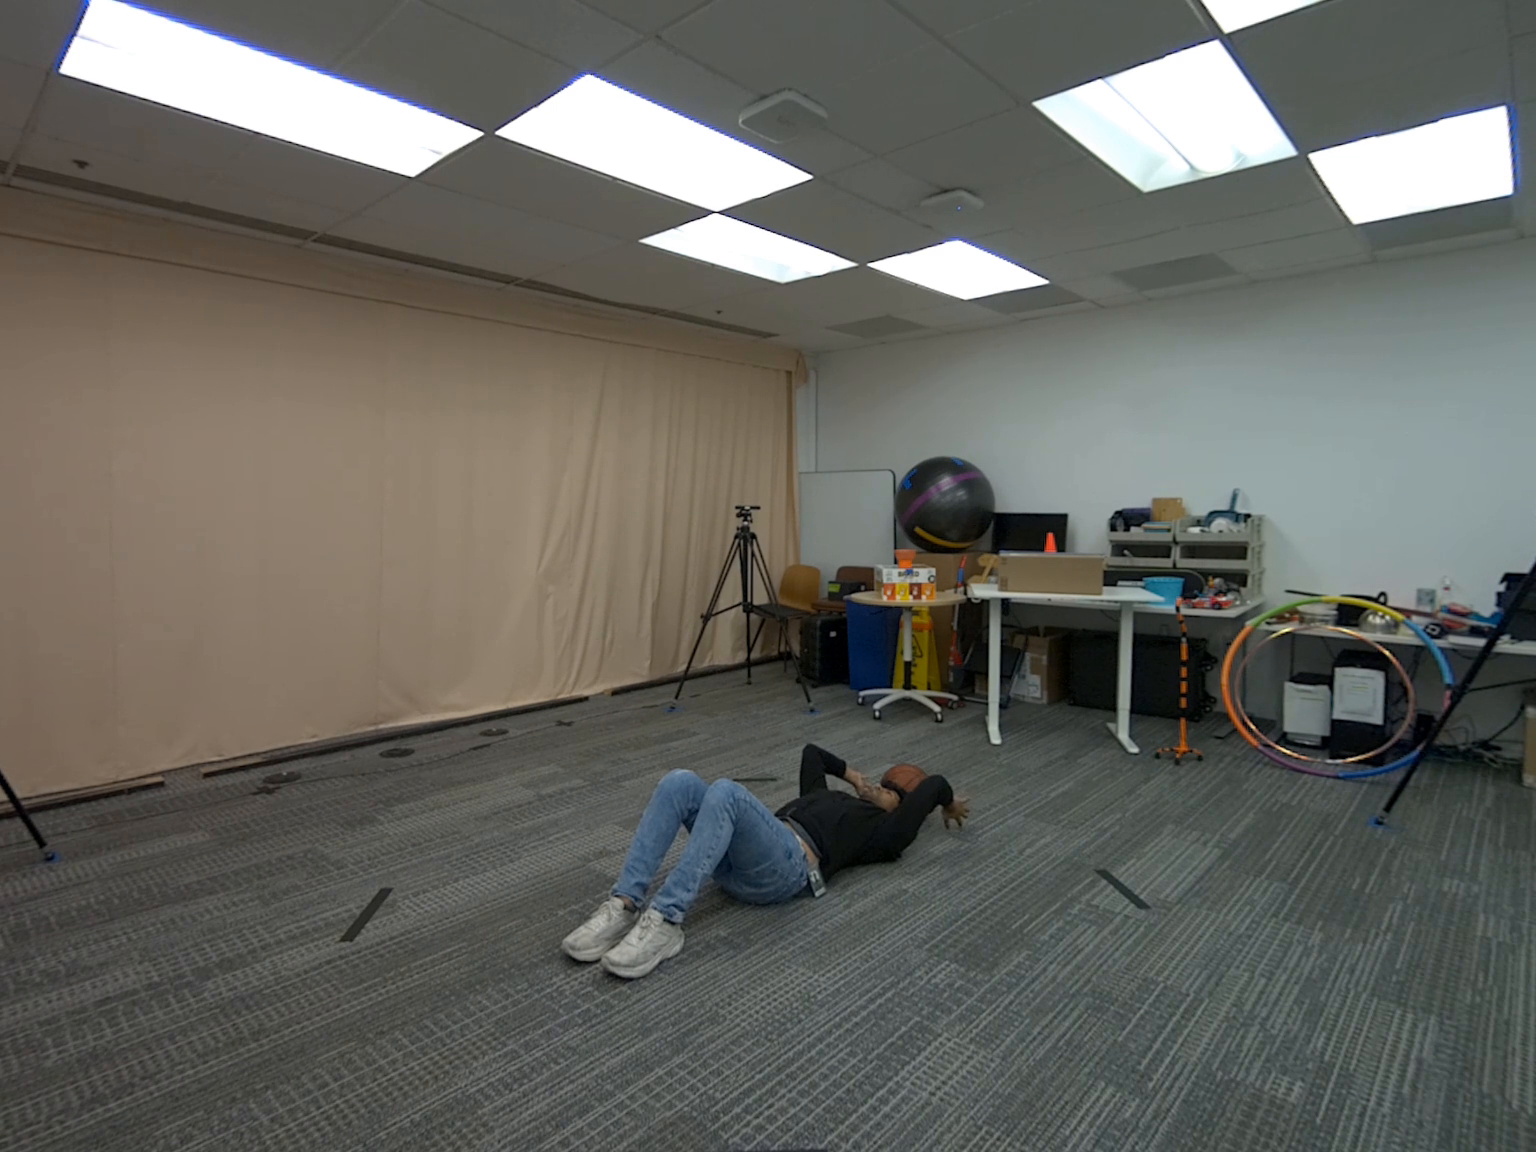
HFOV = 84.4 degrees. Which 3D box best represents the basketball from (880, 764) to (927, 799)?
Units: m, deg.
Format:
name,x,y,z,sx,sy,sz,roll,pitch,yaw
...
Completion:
name,x,y,z,sx,sy,sz,roll,pitch,yaw
basketball,0.619,0.959,3.753,0.236,0.235,0.237,0,4,-2
